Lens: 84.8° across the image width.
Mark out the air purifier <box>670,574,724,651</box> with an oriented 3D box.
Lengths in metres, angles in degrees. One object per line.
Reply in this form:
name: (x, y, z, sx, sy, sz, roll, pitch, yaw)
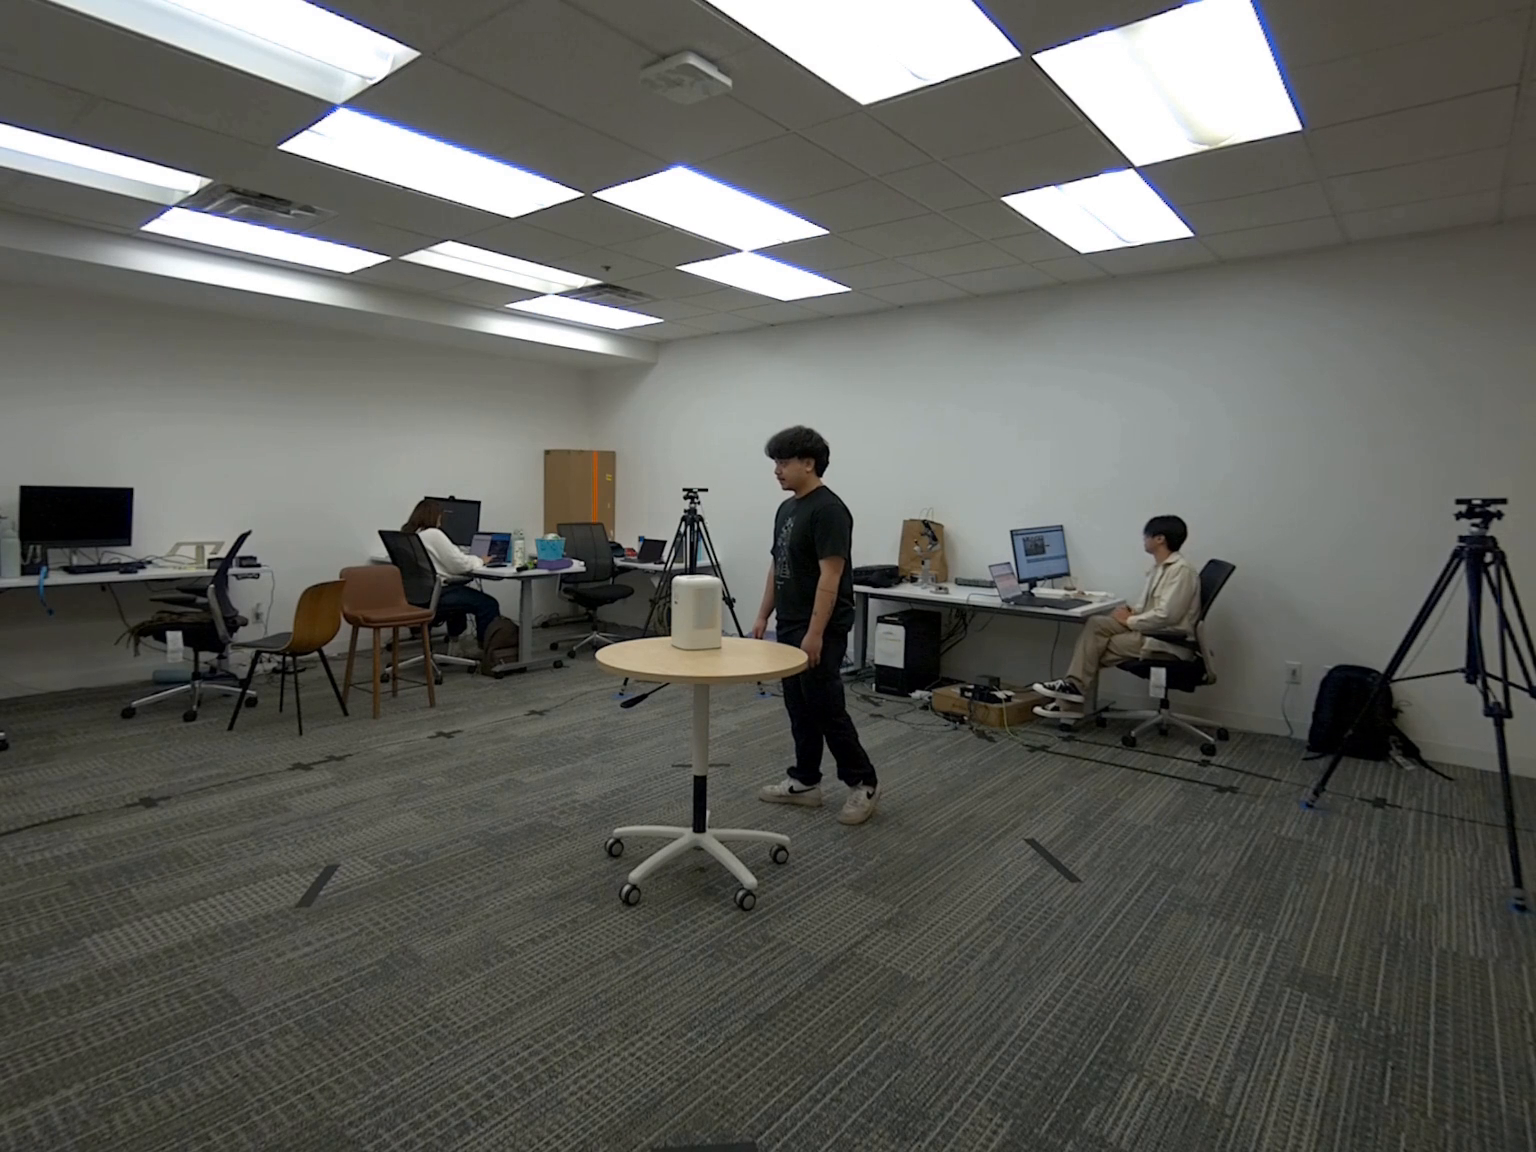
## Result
air purifier: (-0.284, 0.130, 3.232, 0.167, 0.265, 0.175, -1, 2, -26)
